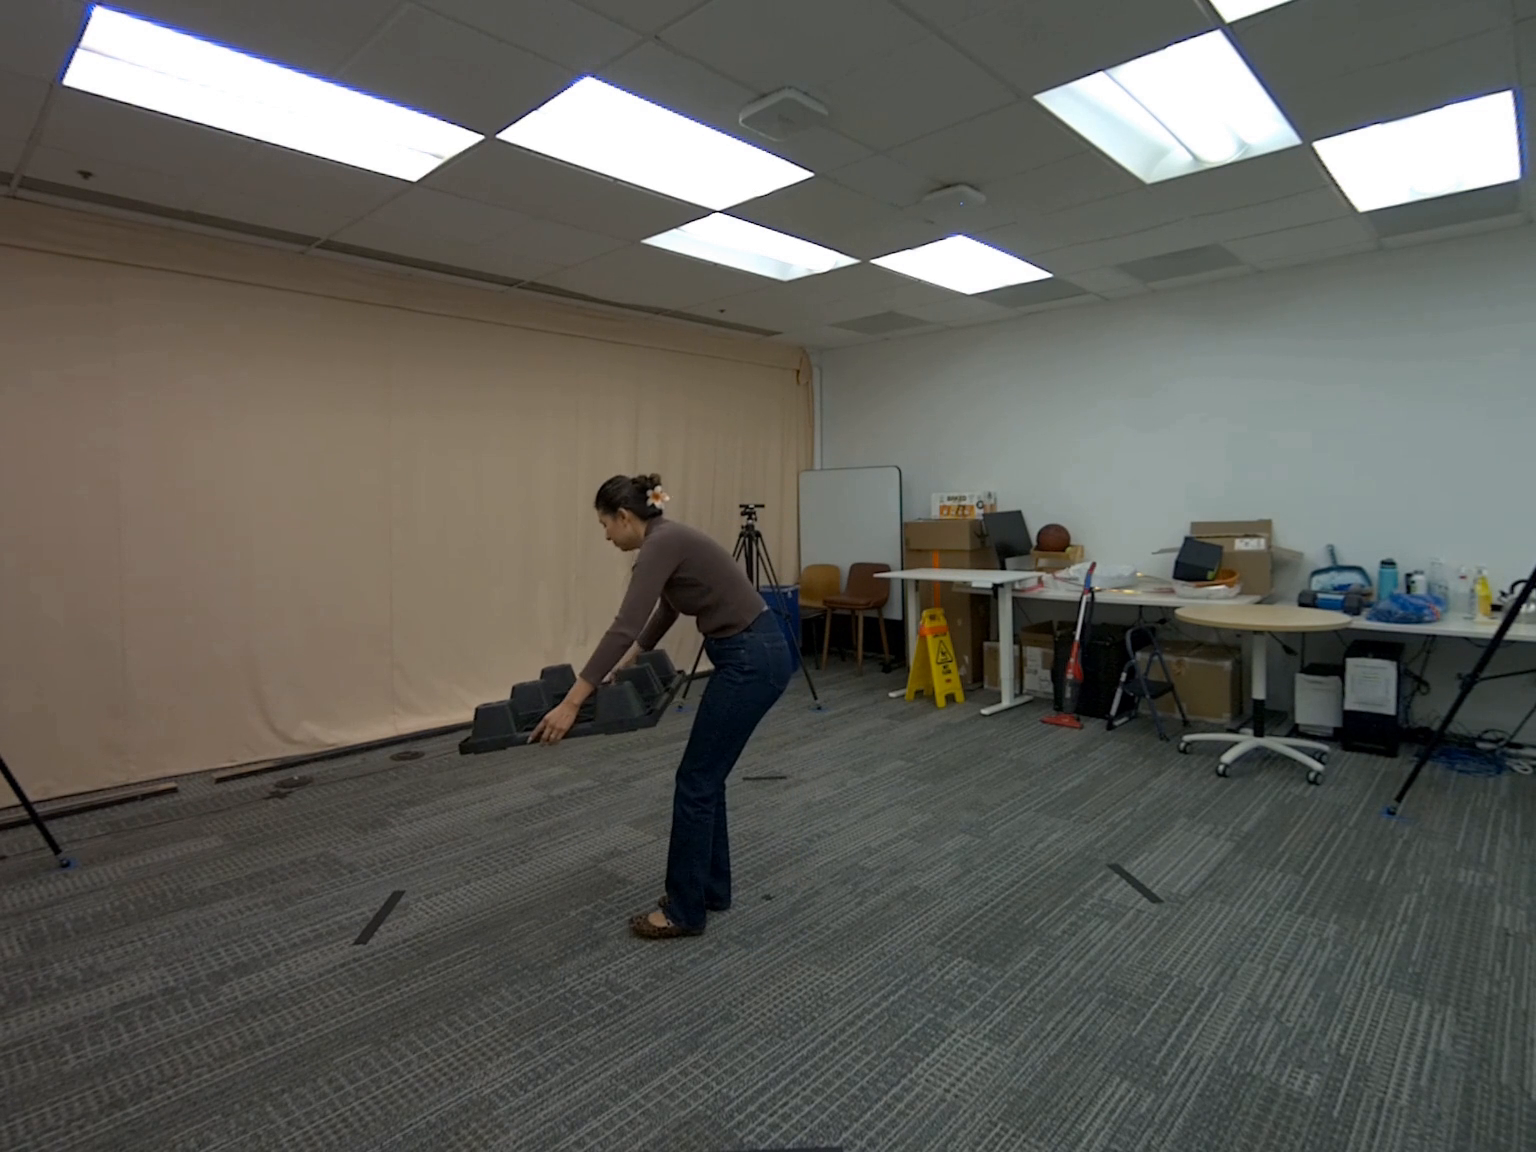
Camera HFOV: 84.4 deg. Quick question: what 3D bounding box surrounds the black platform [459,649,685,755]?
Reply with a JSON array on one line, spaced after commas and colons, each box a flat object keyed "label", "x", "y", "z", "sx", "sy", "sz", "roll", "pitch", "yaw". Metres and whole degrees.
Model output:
[{"label": "black platform", "x": -0.623, "y": 0.410, "z": 2.871, "sx": 0.607, "sy": 0.143, "sz": 0.804, "roll": -8, "pitch": 3, "yaw": 2}]
